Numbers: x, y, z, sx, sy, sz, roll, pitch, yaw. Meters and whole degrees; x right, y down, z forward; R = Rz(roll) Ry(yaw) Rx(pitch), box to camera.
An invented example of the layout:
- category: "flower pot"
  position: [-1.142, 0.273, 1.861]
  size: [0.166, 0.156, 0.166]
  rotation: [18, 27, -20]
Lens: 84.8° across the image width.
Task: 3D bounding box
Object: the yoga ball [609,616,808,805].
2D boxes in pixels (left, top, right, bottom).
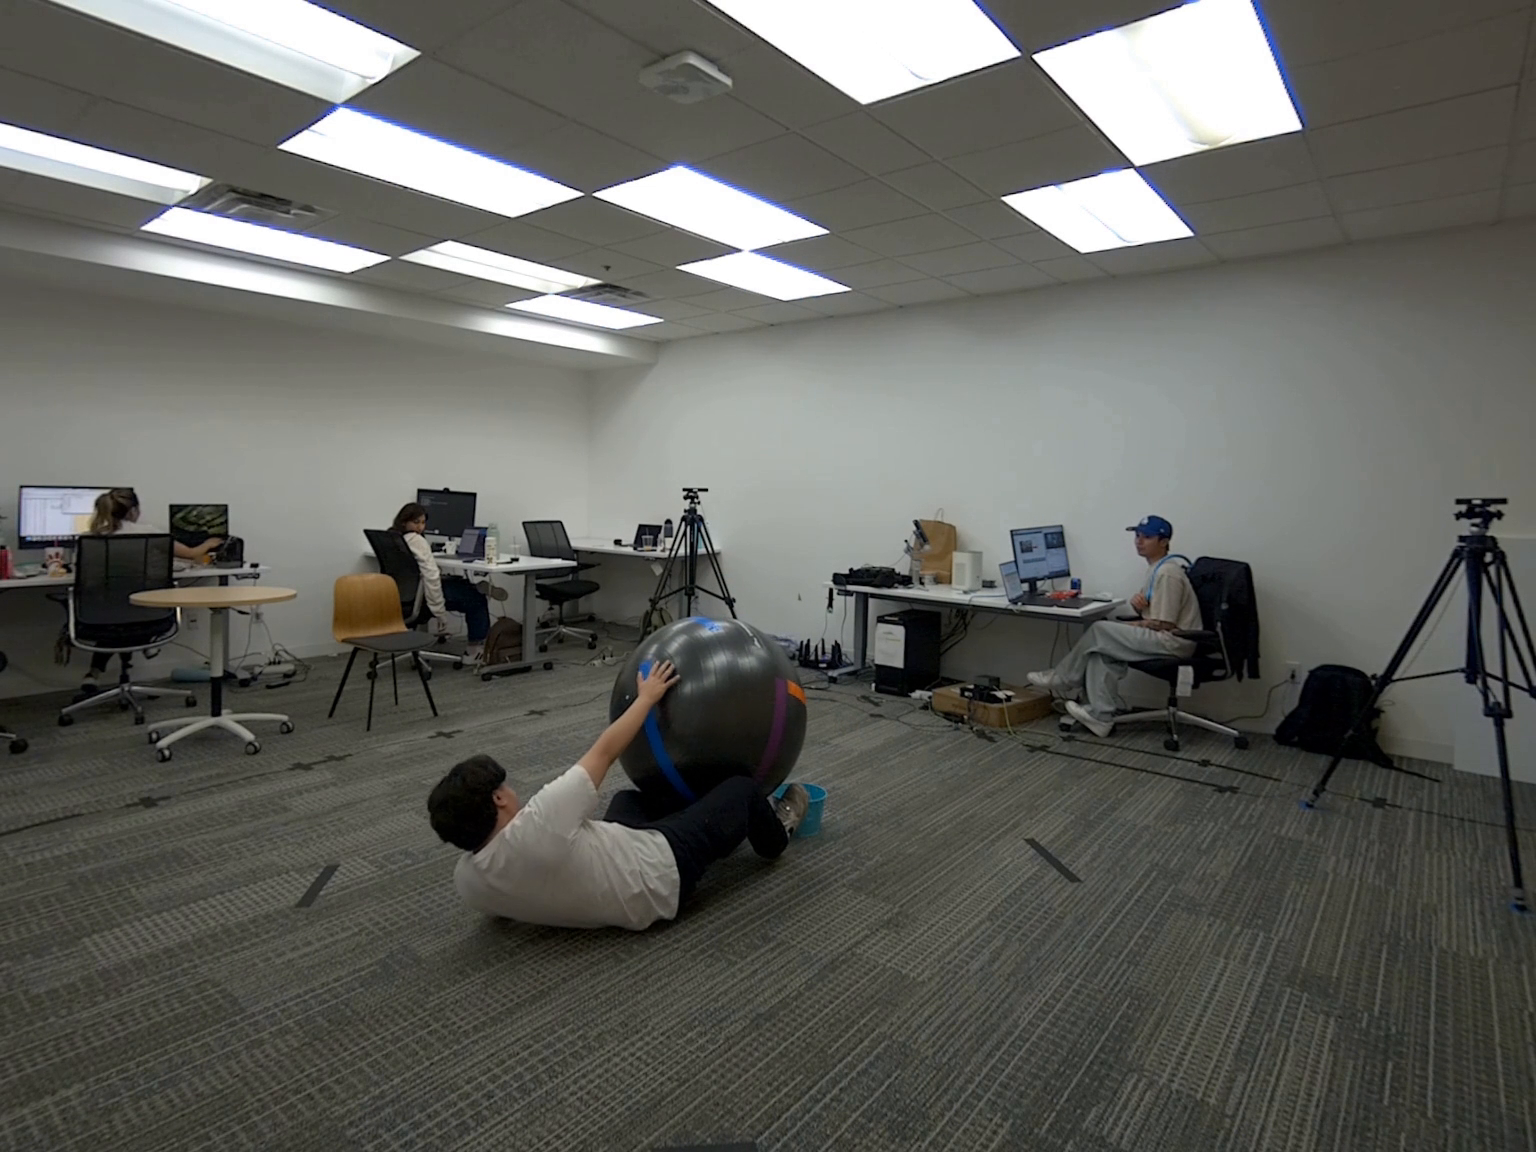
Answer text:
- category: "yoga ball"
  position: [-0.241, 0.524, 3.278]
  size: [0.757, 0.755, 0.762]
  rotation: [1, 4, -2]
